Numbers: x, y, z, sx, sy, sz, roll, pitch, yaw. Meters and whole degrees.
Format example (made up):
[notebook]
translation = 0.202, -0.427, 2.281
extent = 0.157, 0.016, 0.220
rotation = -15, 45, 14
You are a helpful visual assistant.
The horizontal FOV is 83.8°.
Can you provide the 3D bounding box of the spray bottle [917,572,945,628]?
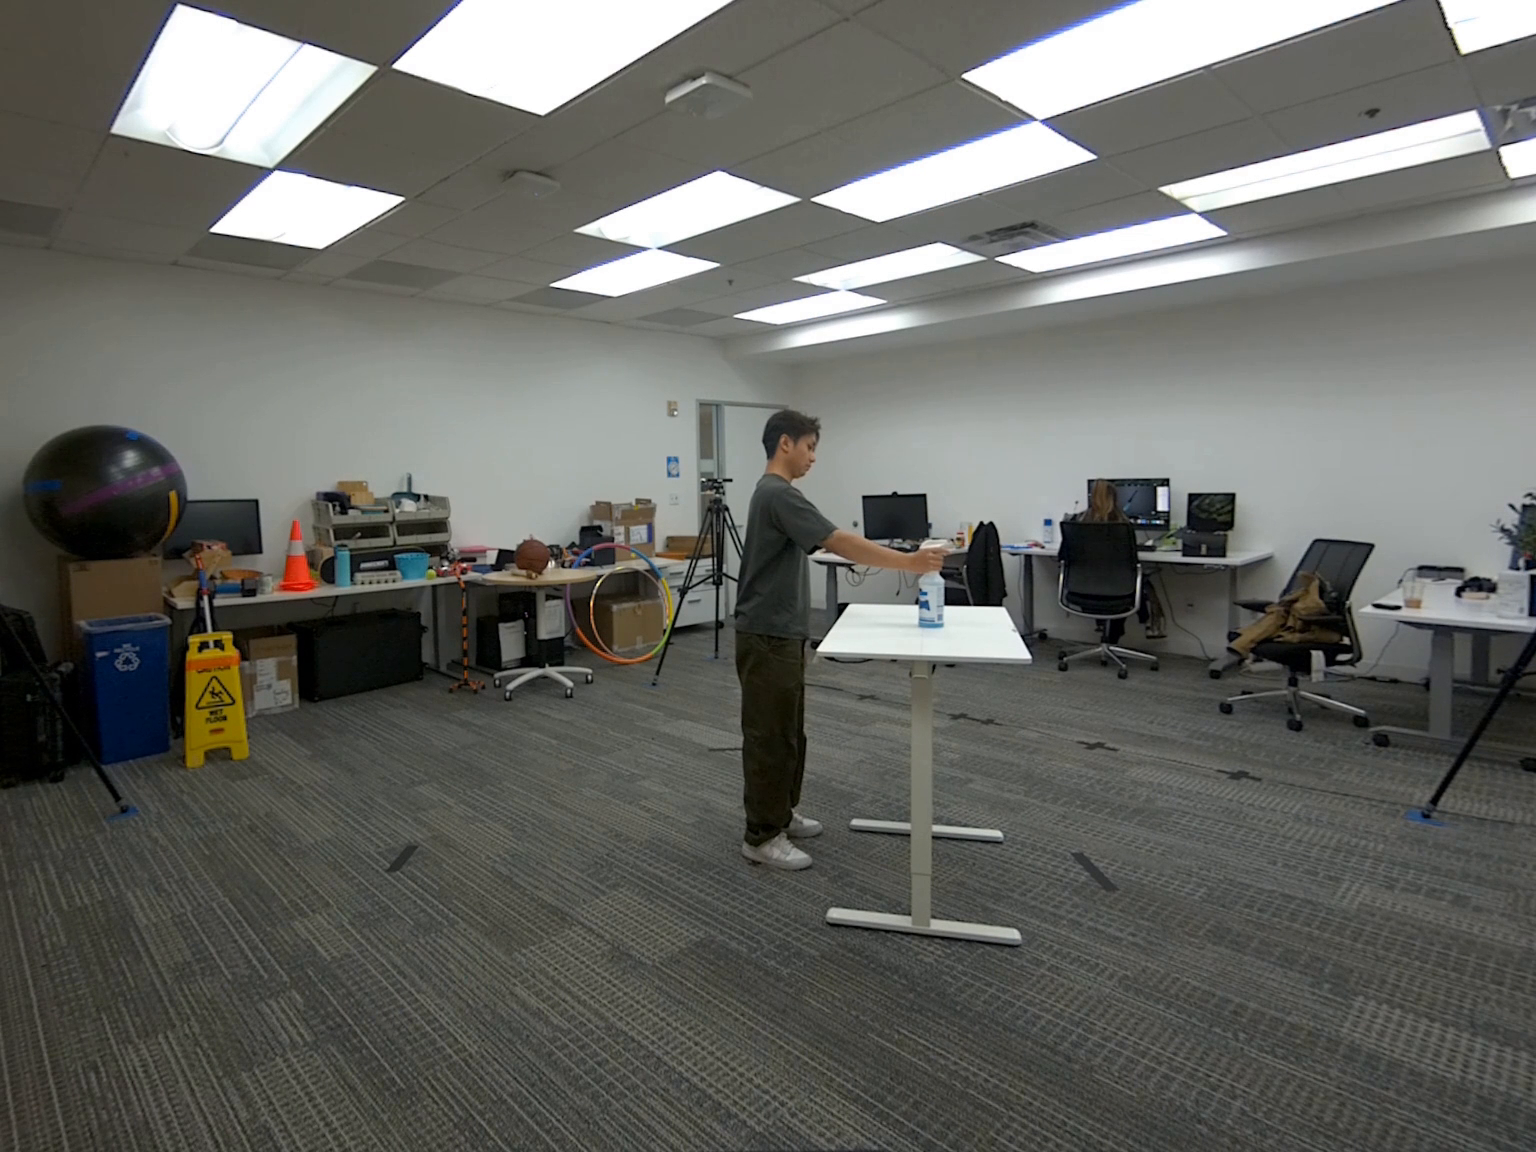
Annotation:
[spray bottle]
translation = 0.566, 0.029, 2.925
extent = 0.092, 0.296, 0.085
rotation = 3, 3, 27
